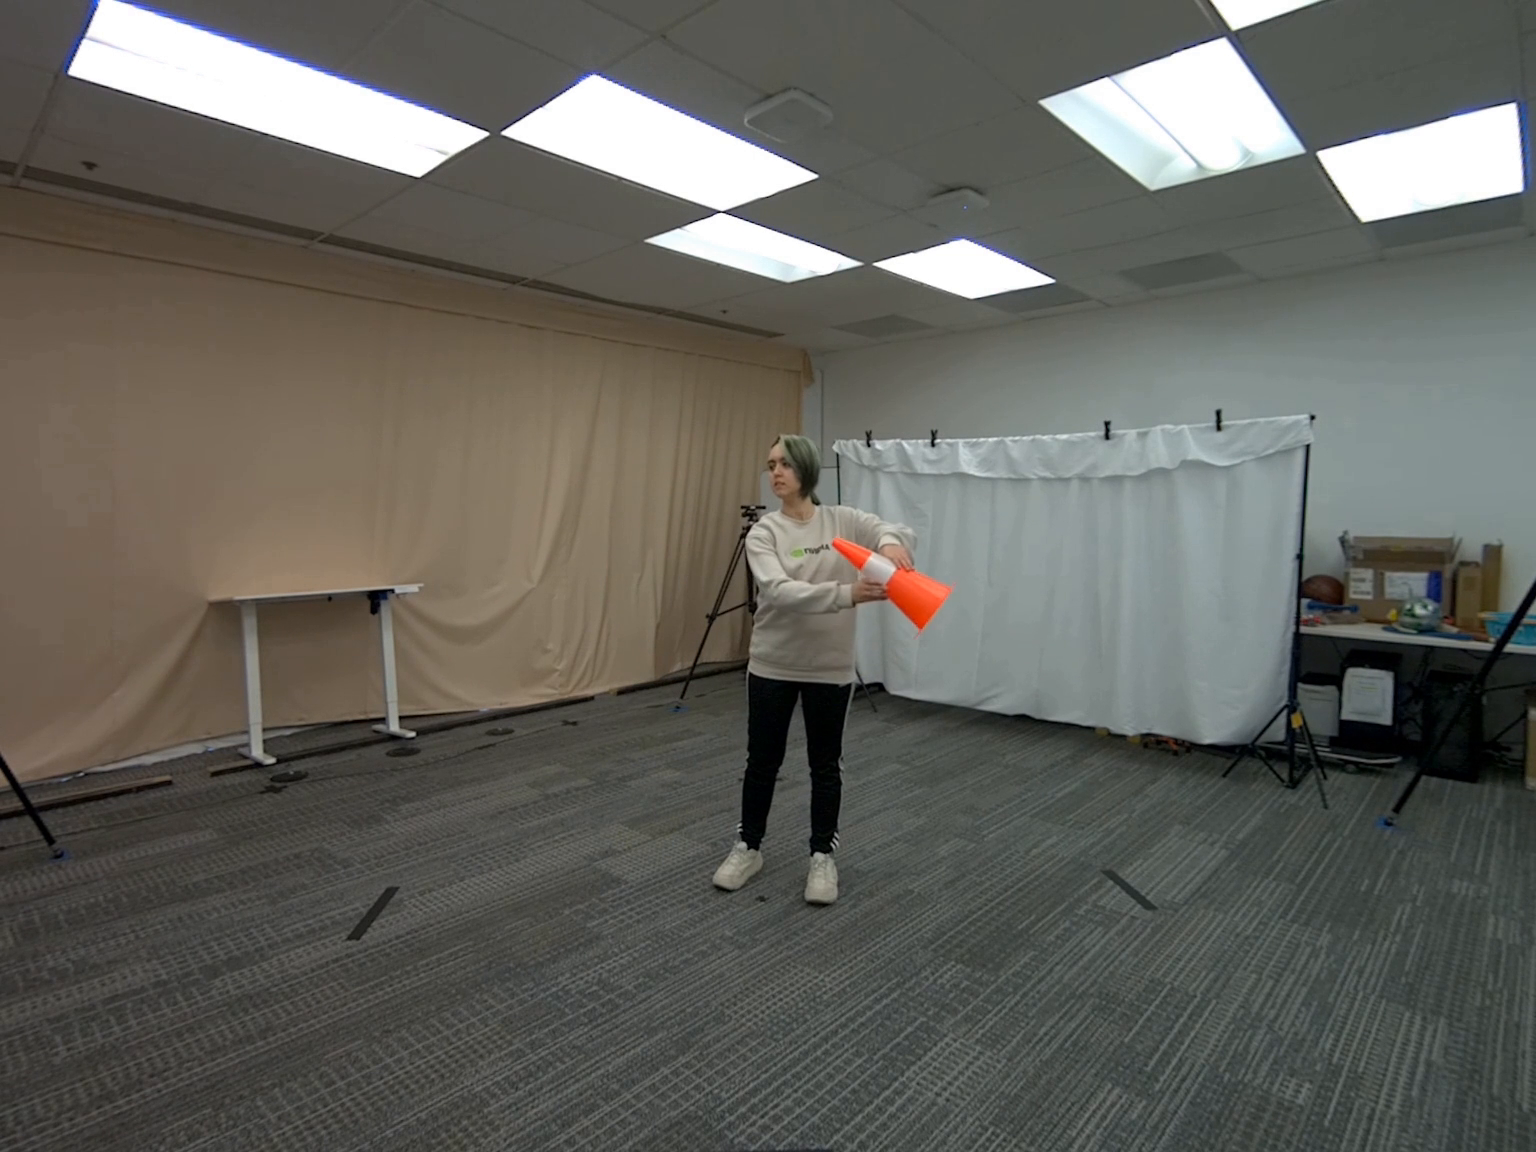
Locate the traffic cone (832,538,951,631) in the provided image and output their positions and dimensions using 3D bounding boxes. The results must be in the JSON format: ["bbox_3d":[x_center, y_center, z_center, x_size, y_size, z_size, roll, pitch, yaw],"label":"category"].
[{"bbox_3d":[0.357,0.004,2.633,0.389,0.205,0.200,34,21,11],"label":"traffic cone"}]
